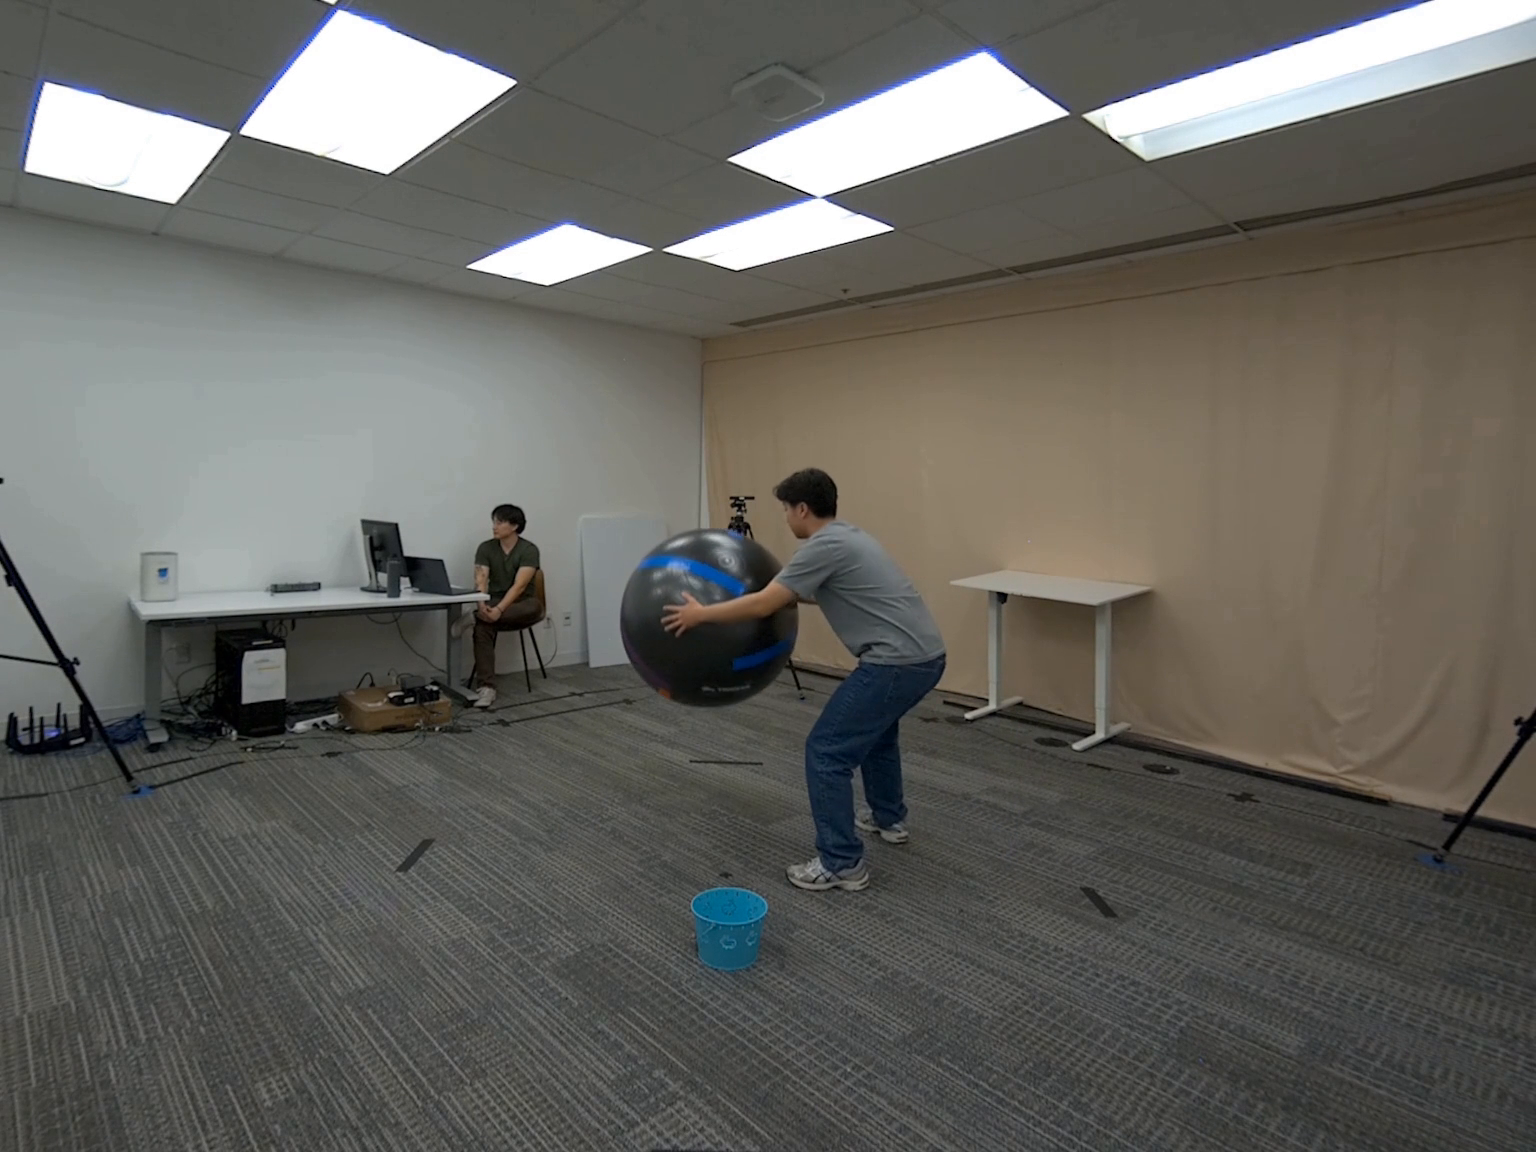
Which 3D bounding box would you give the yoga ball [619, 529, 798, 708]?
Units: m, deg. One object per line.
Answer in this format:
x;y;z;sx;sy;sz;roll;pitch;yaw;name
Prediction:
-0.246;0.177;3.587;0.757;0.756;0.761;1;4;-1;yoga ball
